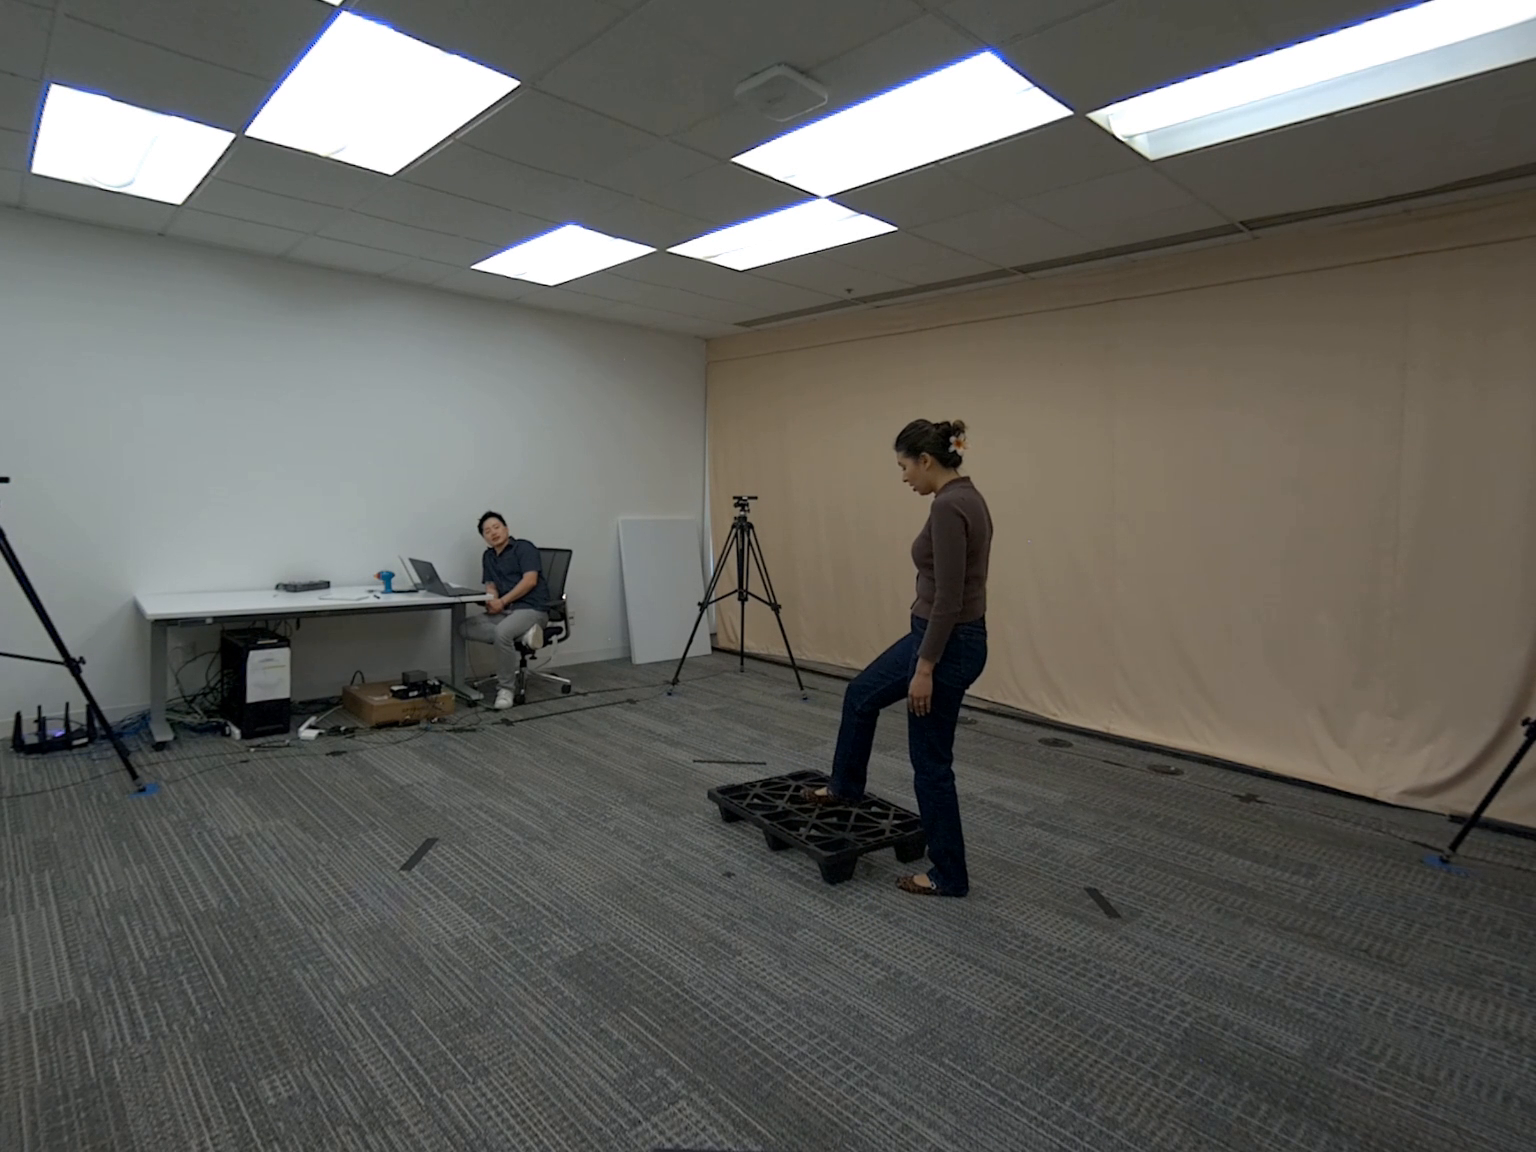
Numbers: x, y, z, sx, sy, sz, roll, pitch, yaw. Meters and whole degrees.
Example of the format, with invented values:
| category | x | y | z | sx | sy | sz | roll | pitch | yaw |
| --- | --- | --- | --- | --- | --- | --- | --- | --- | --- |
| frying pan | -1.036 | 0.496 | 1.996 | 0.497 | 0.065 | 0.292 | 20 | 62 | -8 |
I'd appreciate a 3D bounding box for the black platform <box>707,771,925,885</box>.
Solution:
| category | x | y | z | sx | sy | sz | roll | pitch | yaw |
| --- | --- | --- | --- | --- | --- | --- | --- | --- | --- |
| black platform | 0.199 | 1.013 | 3.461 | 0.592 | 0.143 | 0.825 | -2 | 6 | -35 |
